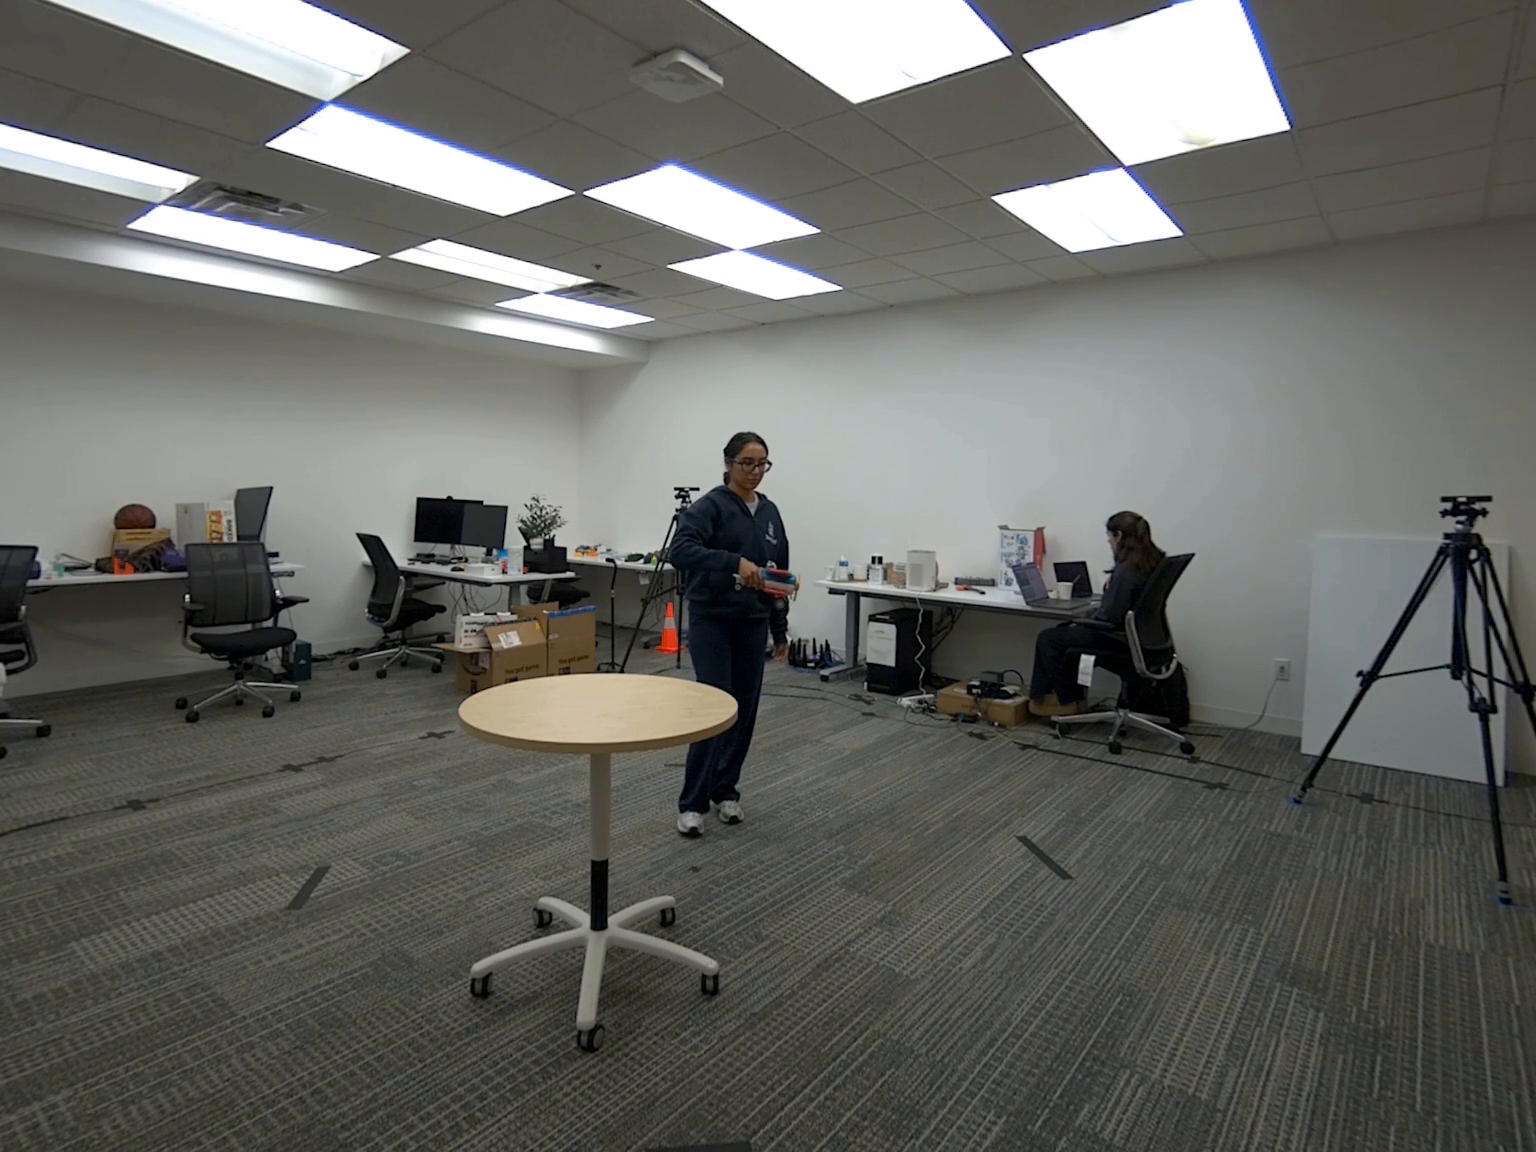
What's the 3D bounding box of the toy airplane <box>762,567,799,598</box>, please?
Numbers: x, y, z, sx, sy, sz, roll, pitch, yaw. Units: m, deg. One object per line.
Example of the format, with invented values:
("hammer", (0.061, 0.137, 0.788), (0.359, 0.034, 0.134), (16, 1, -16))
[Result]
("toy airplane", (-0.020, 0.022, 3.307), (0.251, 0.156, 0.259), (26, 0, -25))
